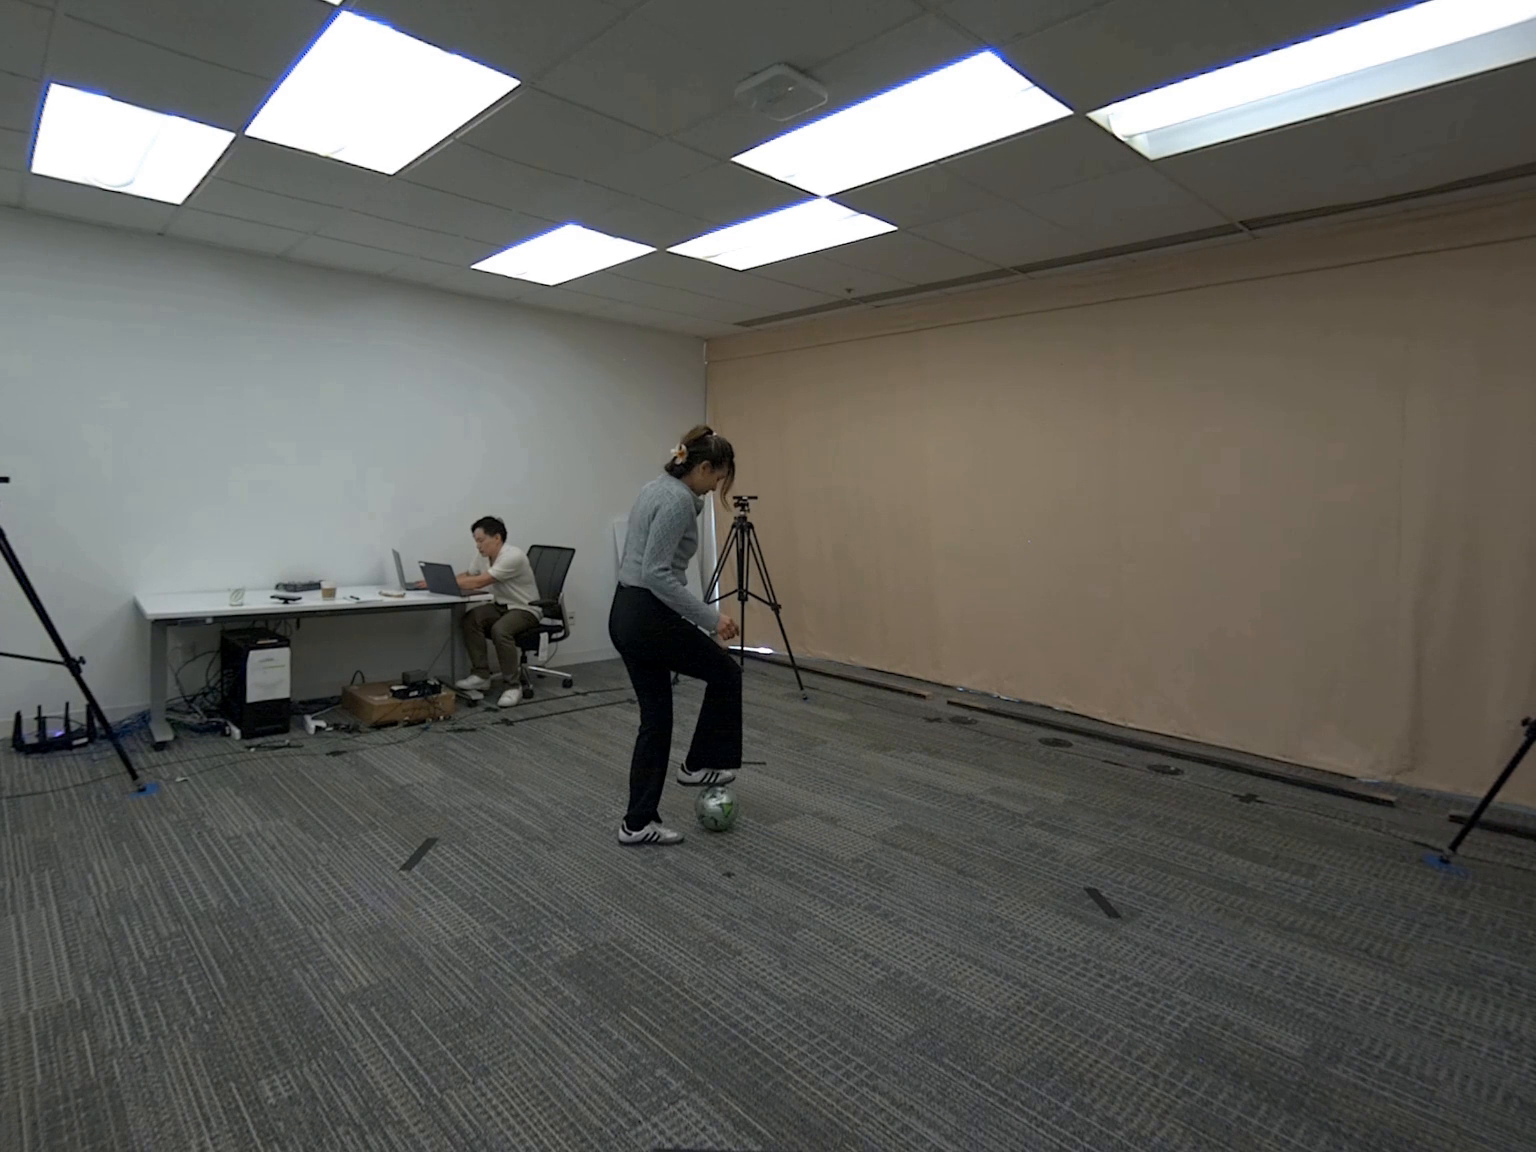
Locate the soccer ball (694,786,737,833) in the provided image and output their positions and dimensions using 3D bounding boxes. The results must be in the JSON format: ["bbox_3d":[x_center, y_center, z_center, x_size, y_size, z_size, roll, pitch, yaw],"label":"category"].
[{"bbox_3d":[-0.225,0.971,3.520,0.187,0.187,0.188,1,4,-1],"label":"soccer ball"}]
